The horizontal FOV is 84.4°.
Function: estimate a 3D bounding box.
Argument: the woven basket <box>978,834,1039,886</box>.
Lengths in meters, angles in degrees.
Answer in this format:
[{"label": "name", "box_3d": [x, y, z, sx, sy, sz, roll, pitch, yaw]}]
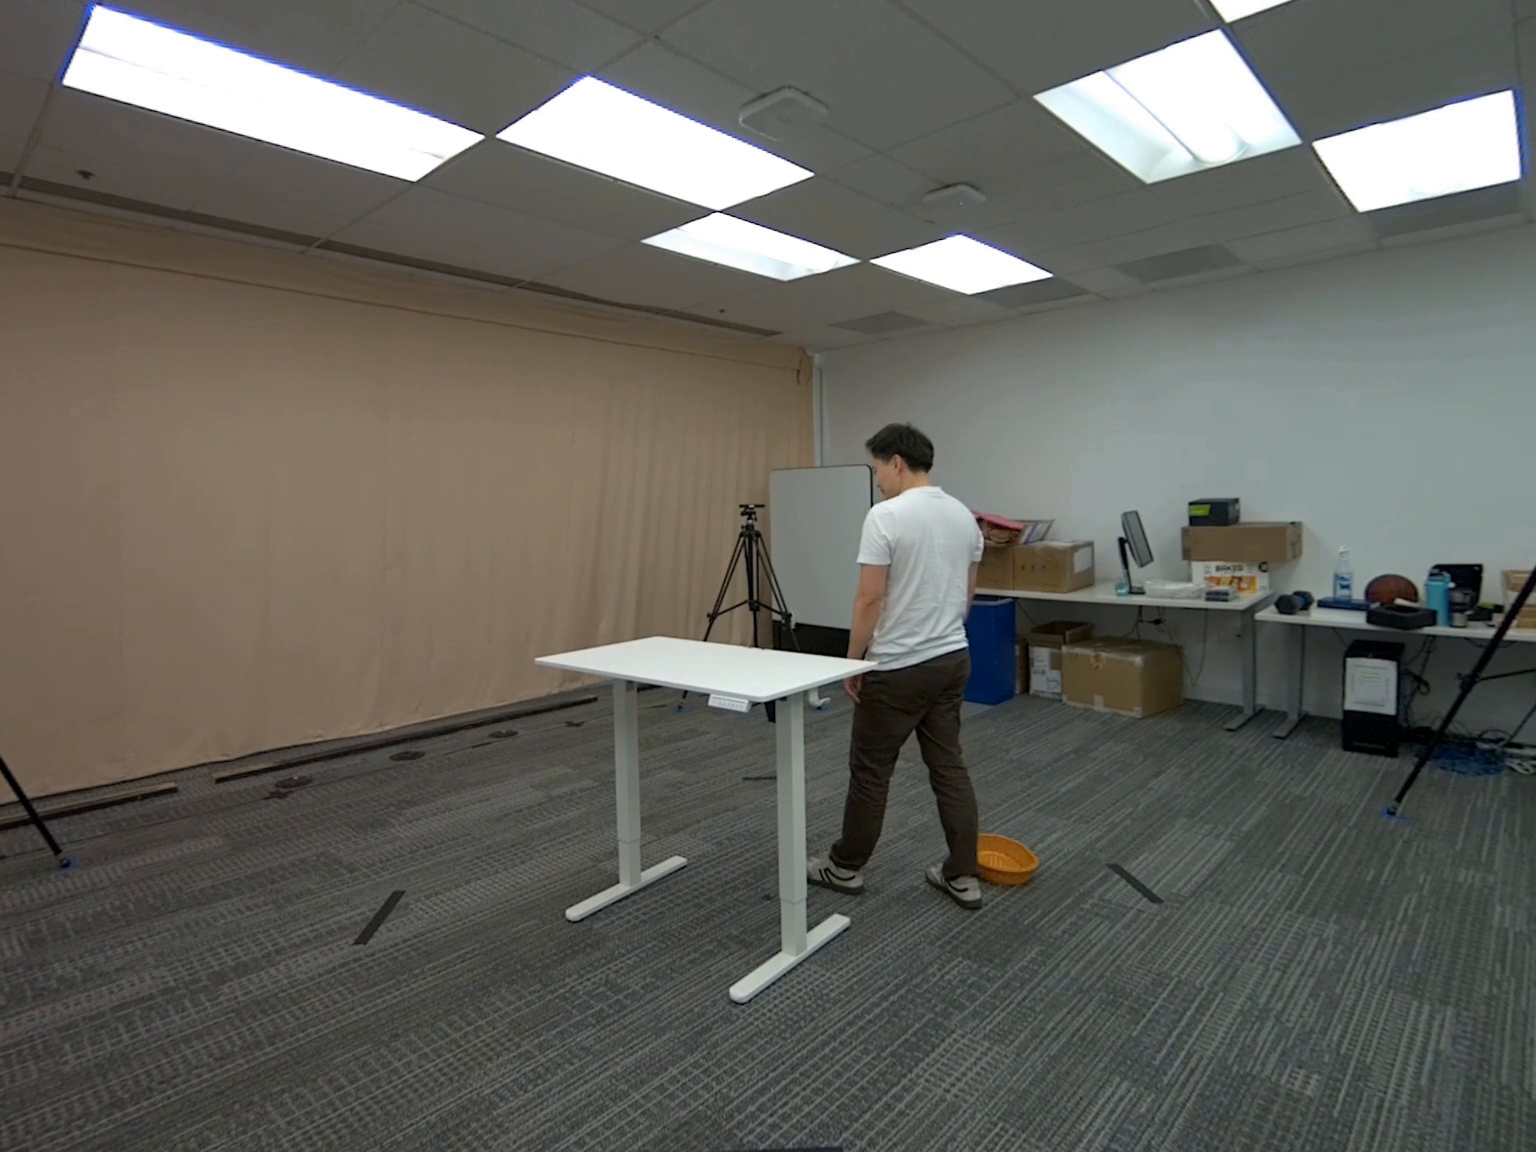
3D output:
[{"label": "woven basket", "box_3d": [0.870, 1.070, 3.177, 0.252, 0.073, 0.352, 0, 4, -3]}]
